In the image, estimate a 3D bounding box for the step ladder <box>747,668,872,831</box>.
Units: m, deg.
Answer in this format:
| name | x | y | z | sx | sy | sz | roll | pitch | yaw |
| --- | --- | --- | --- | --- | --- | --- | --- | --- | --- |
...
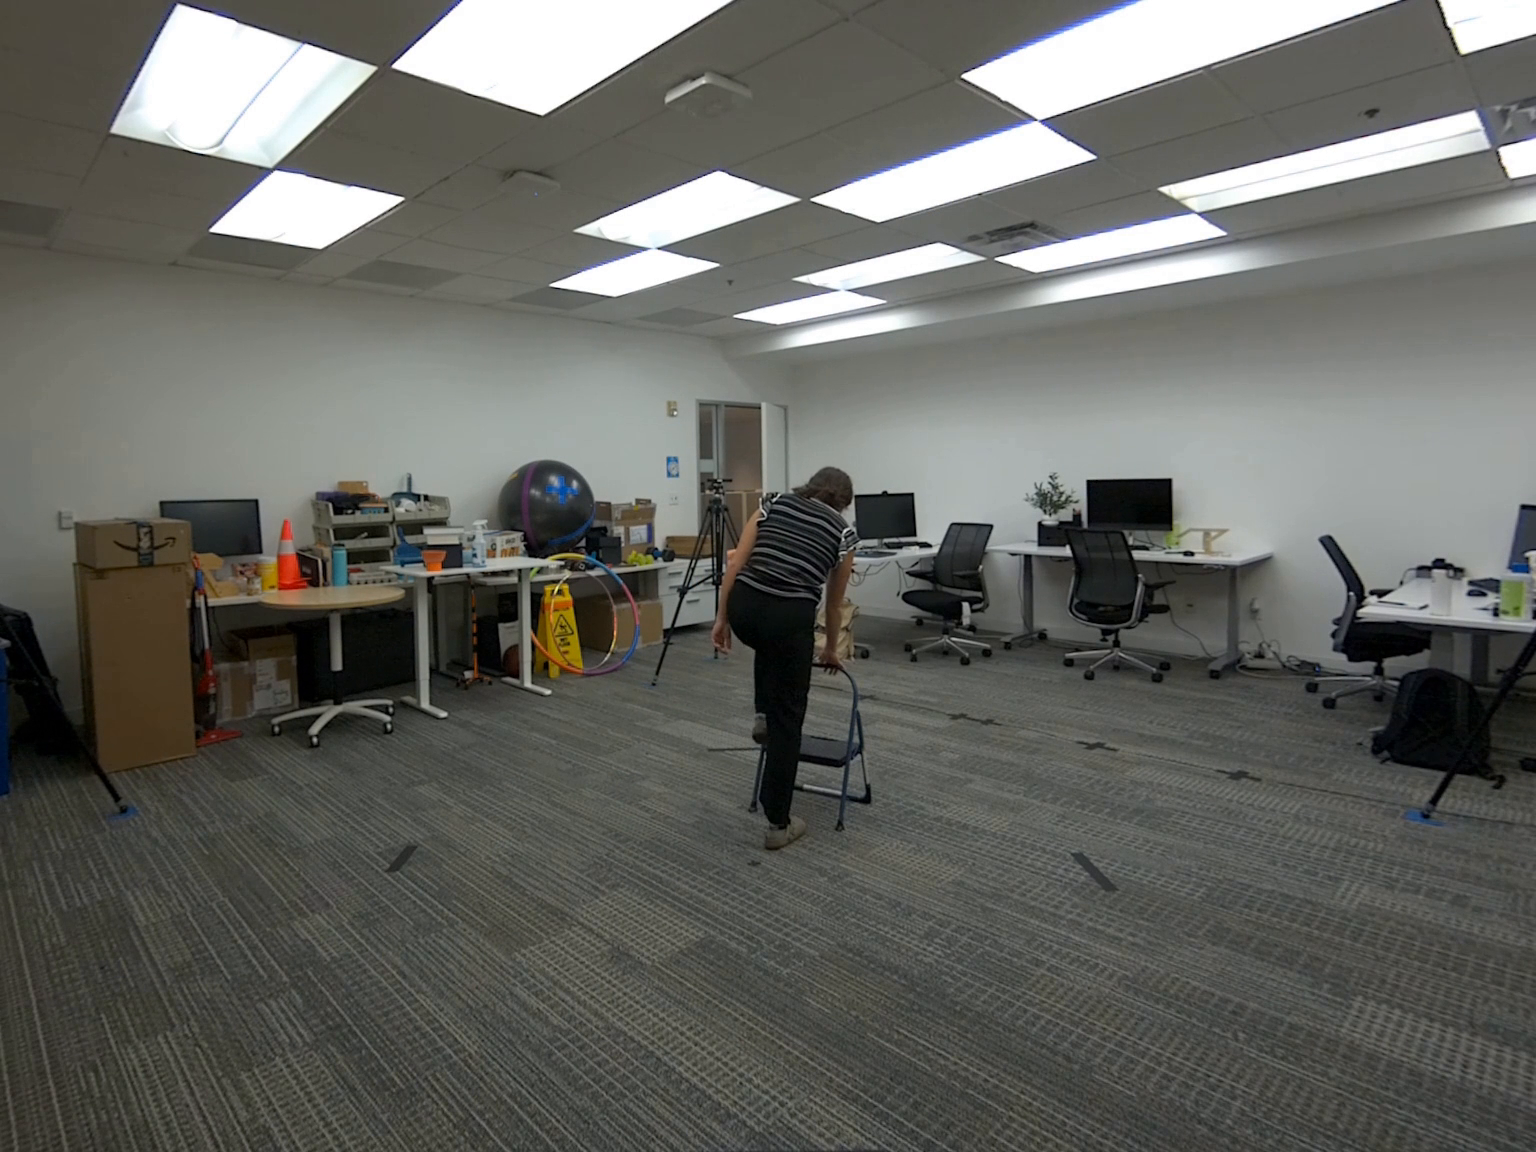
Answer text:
| name | x | y | z | sx | sy | sz | roll | pitch | yaw |
| --- | --- | --- | --- | --- | --- | --- | --- | --- | --- |
| step ladder | 0.185 | 0.682 | 3.614 | 0.442 | 0.604 | 0.341 | 2 | 5 | 30 |
